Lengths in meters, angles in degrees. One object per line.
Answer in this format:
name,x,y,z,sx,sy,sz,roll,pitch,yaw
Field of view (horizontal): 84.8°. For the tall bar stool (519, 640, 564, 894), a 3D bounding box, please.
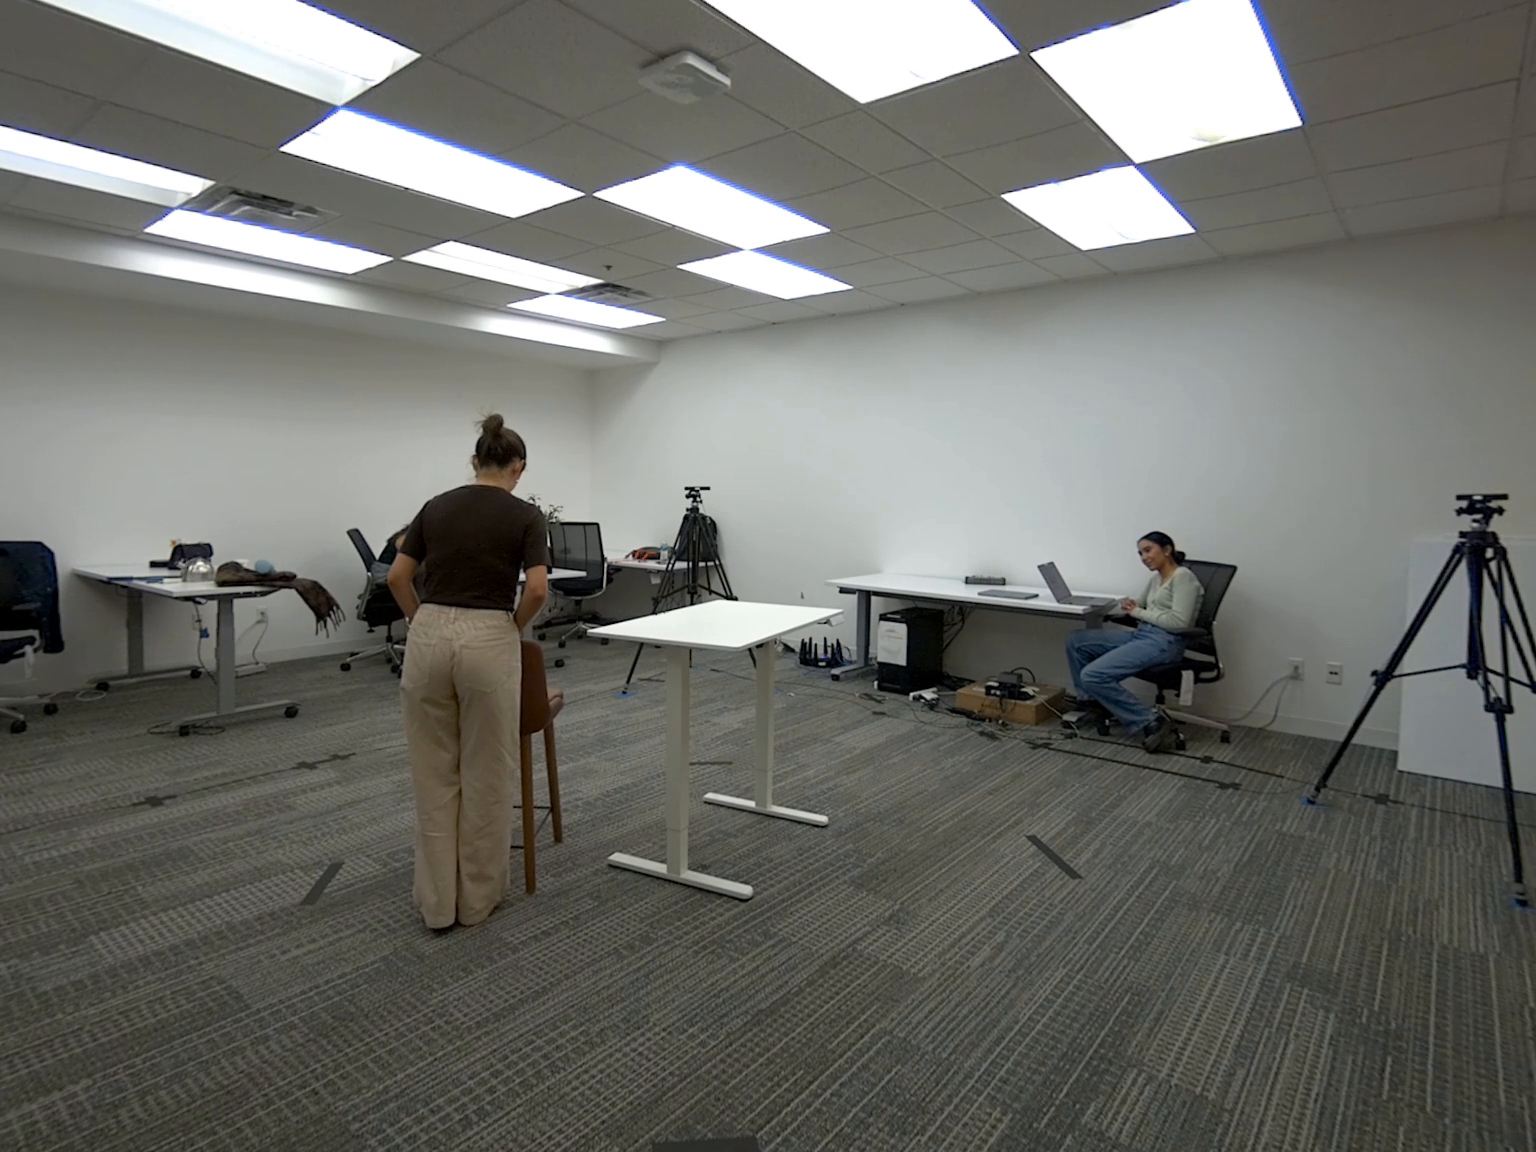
tall bar stool,-1.004,0.625,3.089,0.456,0.886,0.470,-1,5,-2
